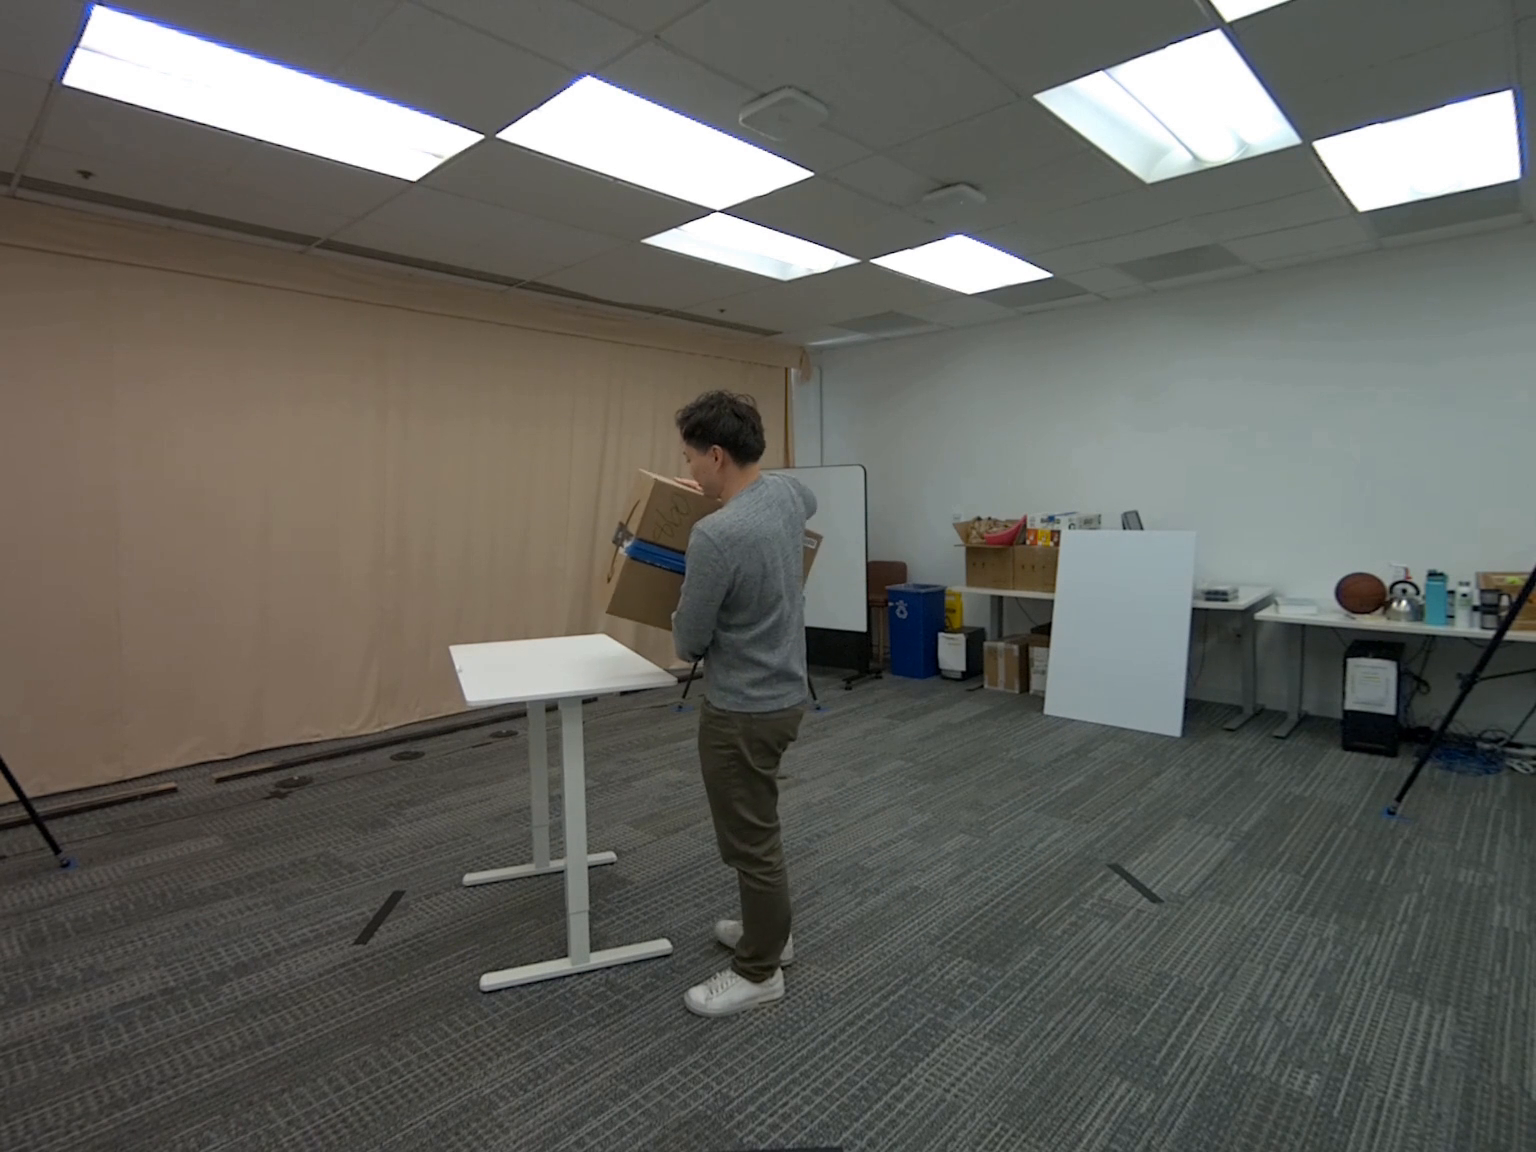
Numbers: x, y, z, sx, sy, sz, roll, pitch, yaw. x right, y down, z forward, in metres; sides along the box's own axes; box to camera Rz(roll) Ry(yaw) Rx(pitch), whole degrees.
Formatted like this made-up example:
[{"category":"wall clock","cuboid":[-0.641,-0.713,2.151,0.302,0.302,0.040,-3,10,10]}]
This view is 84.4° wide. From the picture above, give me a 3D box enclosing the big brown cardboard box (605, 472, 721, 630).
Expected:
[{"category":"big brown cardboard box","cuboid":[-0.188,-0.025,2.588,0.574,0.417,0.239,17,7,-22]}]
